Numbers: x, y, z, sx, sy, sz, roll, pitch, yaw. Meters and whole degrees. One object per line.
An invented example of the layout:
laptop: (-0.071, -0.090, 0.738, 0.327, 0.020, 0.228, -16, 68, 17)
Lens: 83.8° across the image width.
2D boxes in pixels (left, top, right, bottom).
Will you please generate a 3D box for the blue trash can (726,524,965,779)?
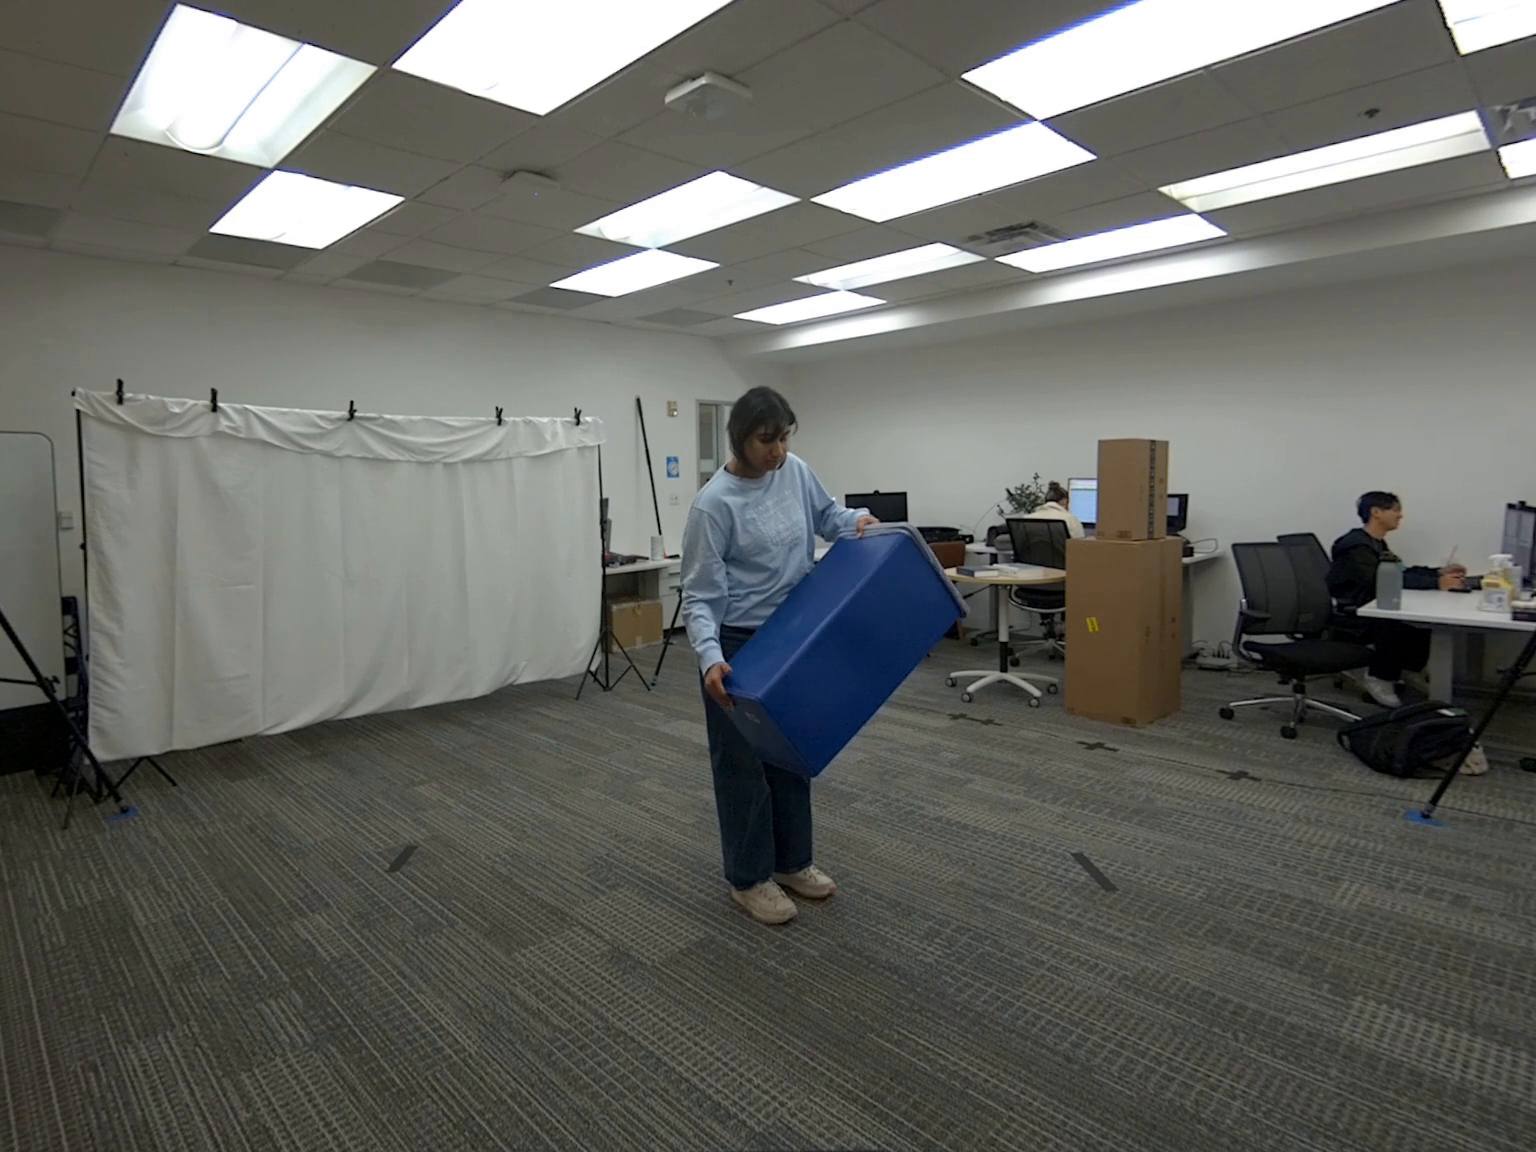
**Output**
blue trash can: (0.202, 0.206, 2.556, 0.712, 0.366, 0.387, -45, 20, -24)
